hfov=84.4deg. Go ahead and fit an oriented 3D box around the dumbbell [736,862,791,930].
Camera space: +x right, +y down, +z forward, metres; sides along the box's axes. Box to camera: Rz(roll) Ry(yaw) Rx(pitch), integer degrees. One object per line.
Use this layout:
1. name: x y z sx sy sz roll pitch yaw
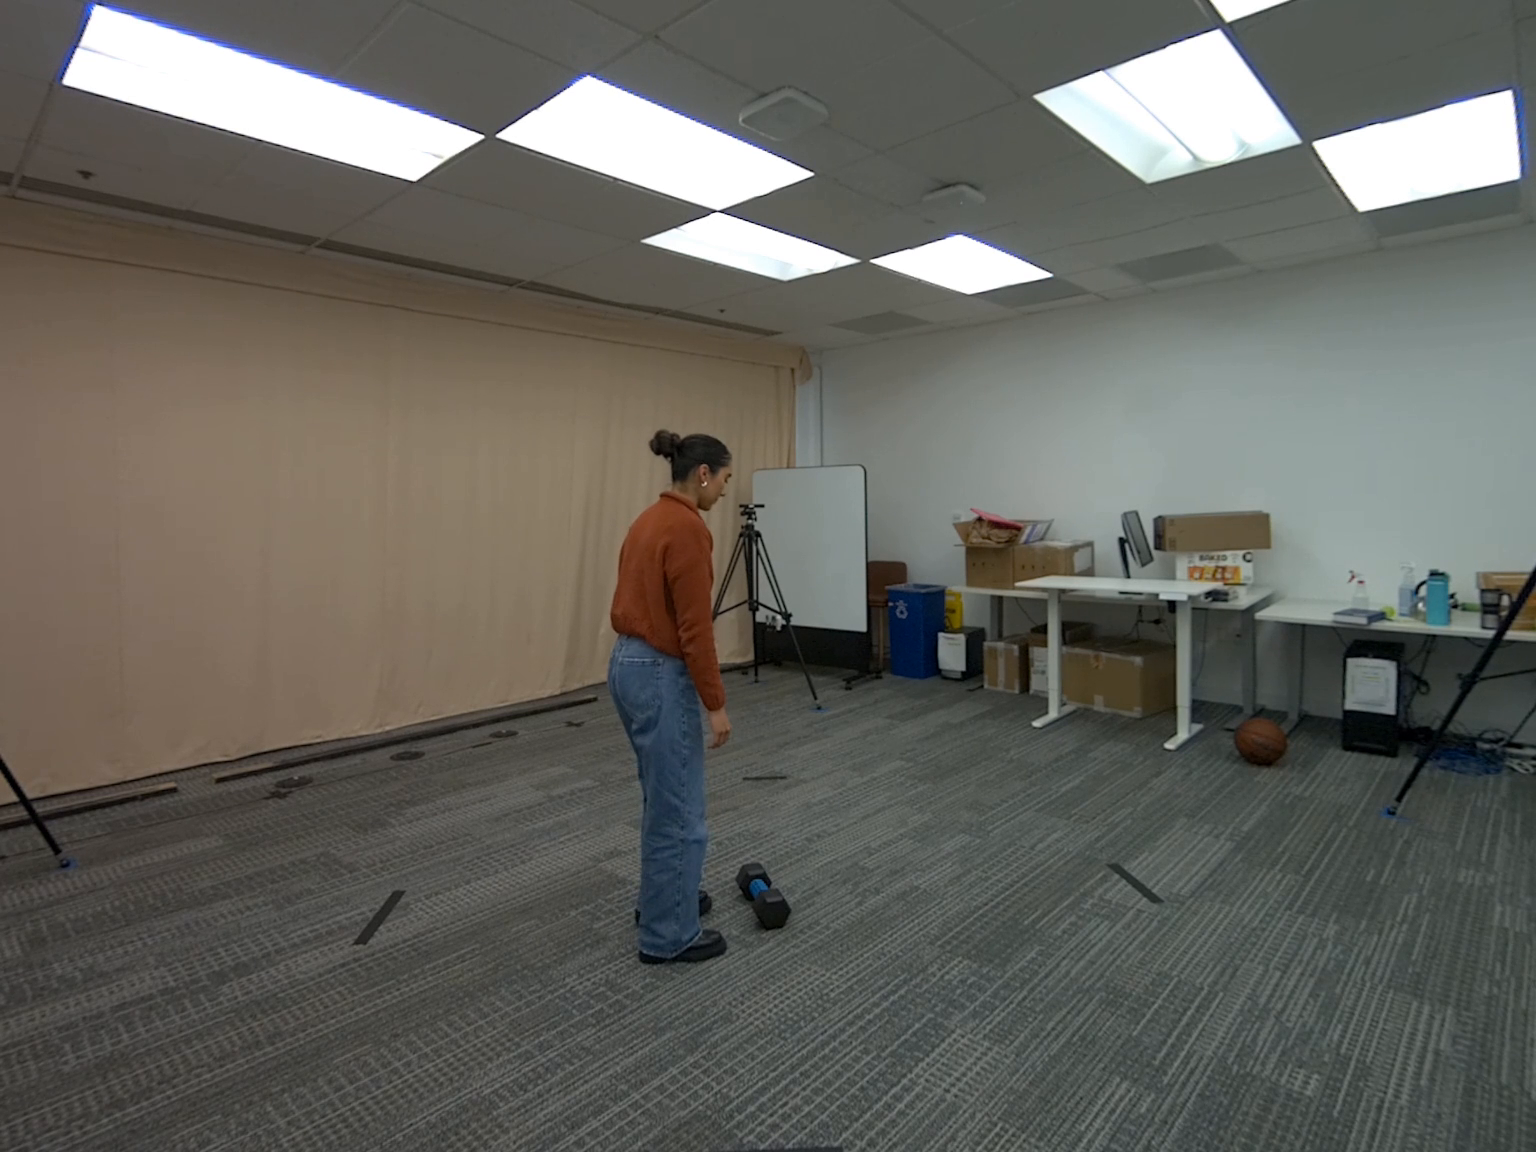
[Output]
1. dumbbell: -0.015 1.094 2.887 0.108 0.121 0.299 -33 13 -12
